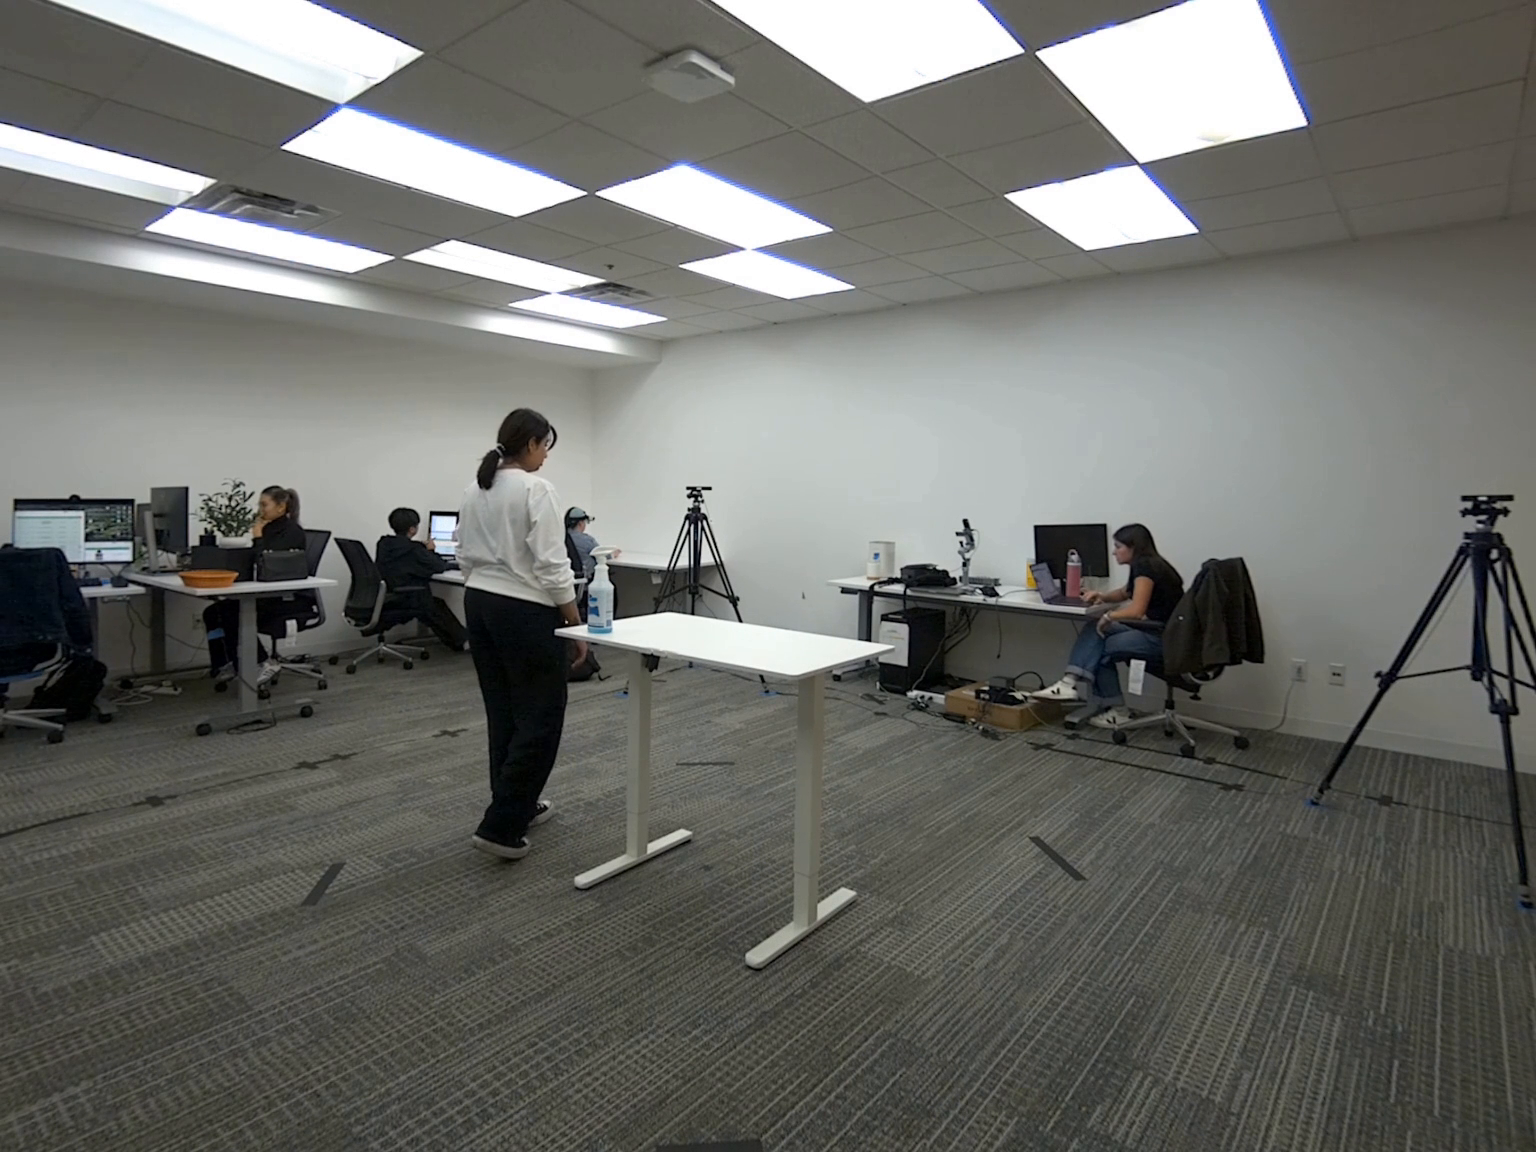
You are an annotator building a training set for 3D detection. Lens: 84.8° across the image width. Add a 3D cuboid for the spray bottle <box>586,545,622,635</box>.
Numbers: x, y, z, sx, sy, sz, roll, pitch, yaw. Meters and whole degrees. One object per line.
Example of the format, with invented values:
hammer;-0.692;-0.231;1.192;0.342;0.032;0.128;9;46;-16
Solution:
spray bottle;-0.572;0.046;2.929;0.091;0.297;0.086;3;2;9
